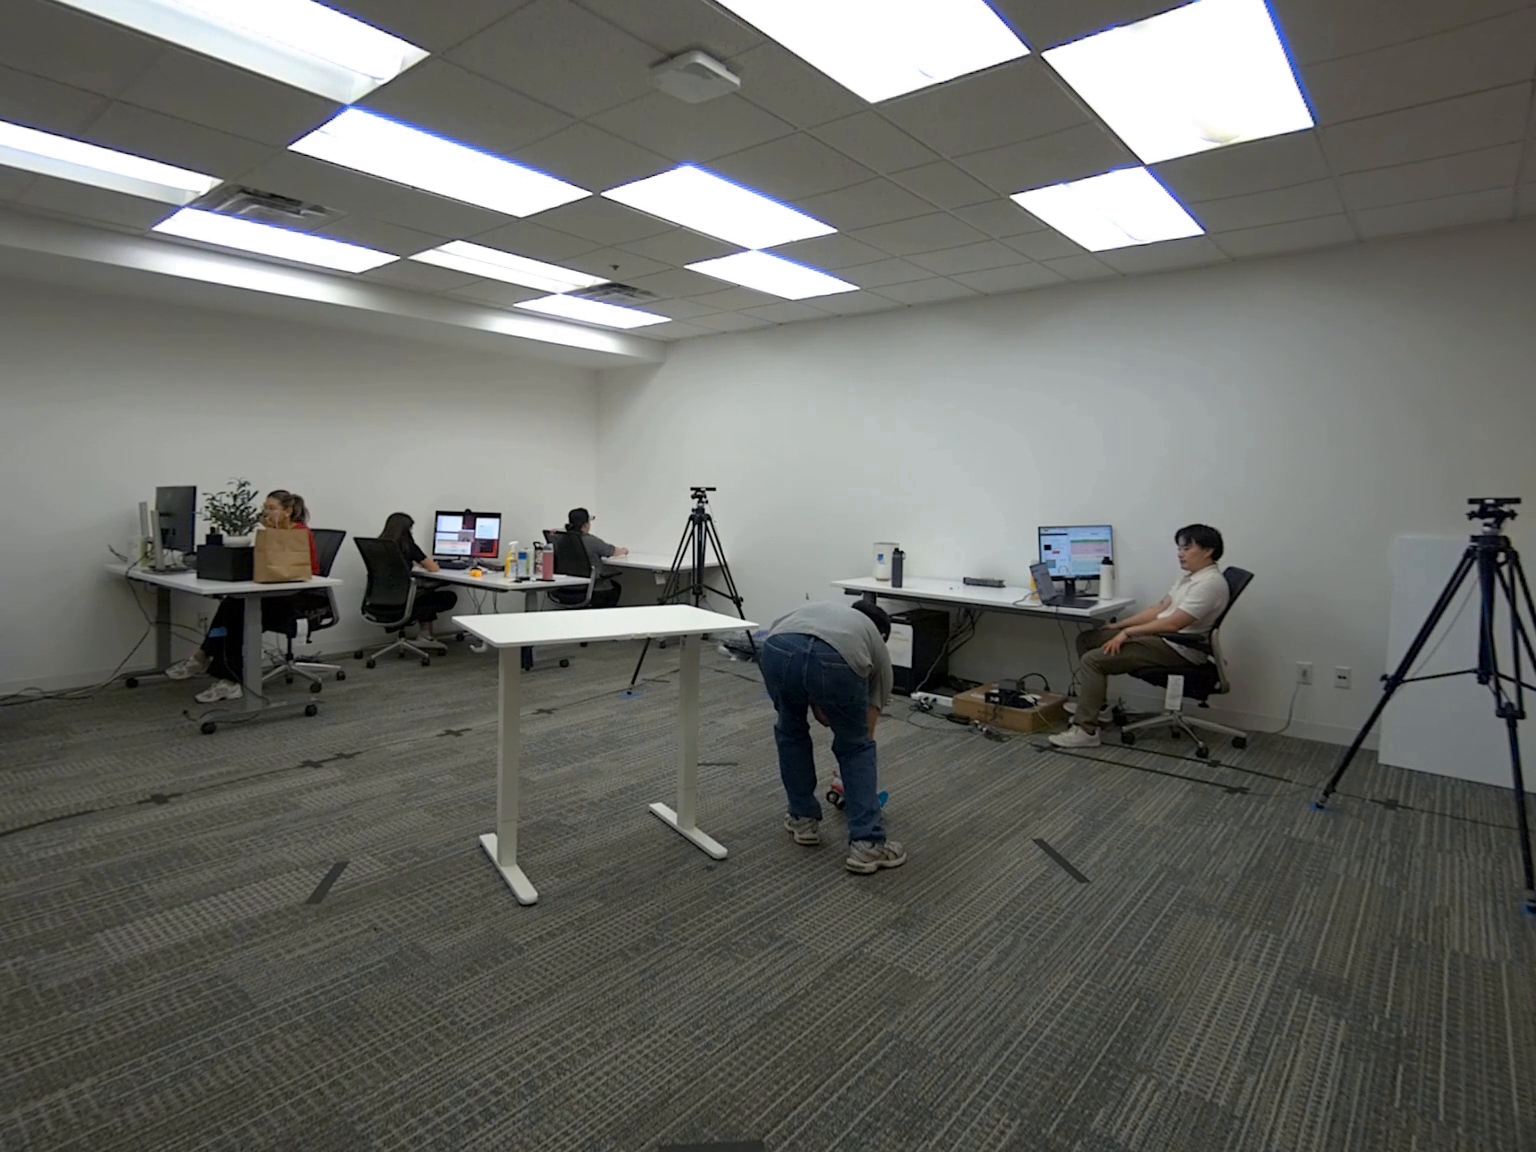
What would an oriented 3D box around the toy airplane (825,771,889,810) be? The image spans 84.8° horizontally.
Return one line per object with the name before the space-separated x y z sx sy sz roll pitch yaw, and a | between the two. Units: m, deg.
toy airplane | 0.382 0.950 3.676 0.262 0.158 0.246 20 -20 7
